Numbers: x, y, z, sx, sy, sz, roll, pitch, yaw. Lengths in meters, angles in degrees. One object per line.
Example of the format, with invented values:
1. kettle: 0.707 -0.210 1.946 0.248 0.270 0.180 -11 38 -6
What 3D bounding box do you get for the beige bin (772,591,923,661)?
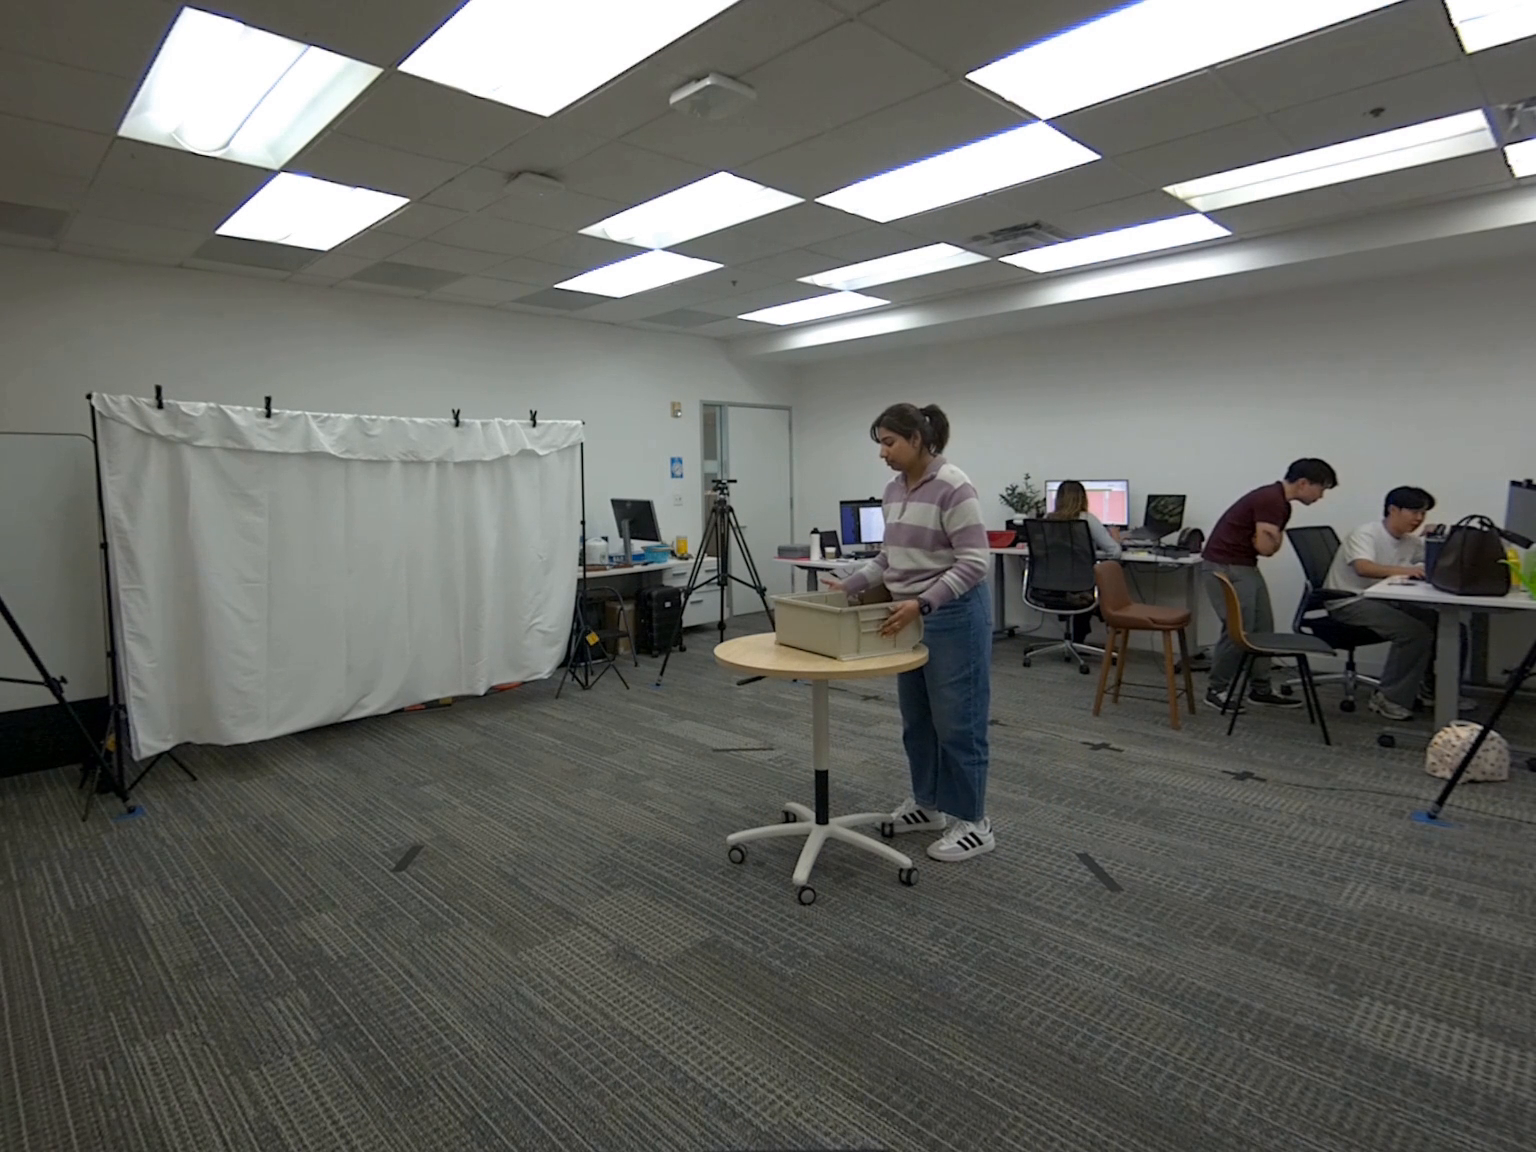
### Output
1. beige bin: 0.282 0.163 3.095 0.369 0.188 0.434 -7 9 -30
